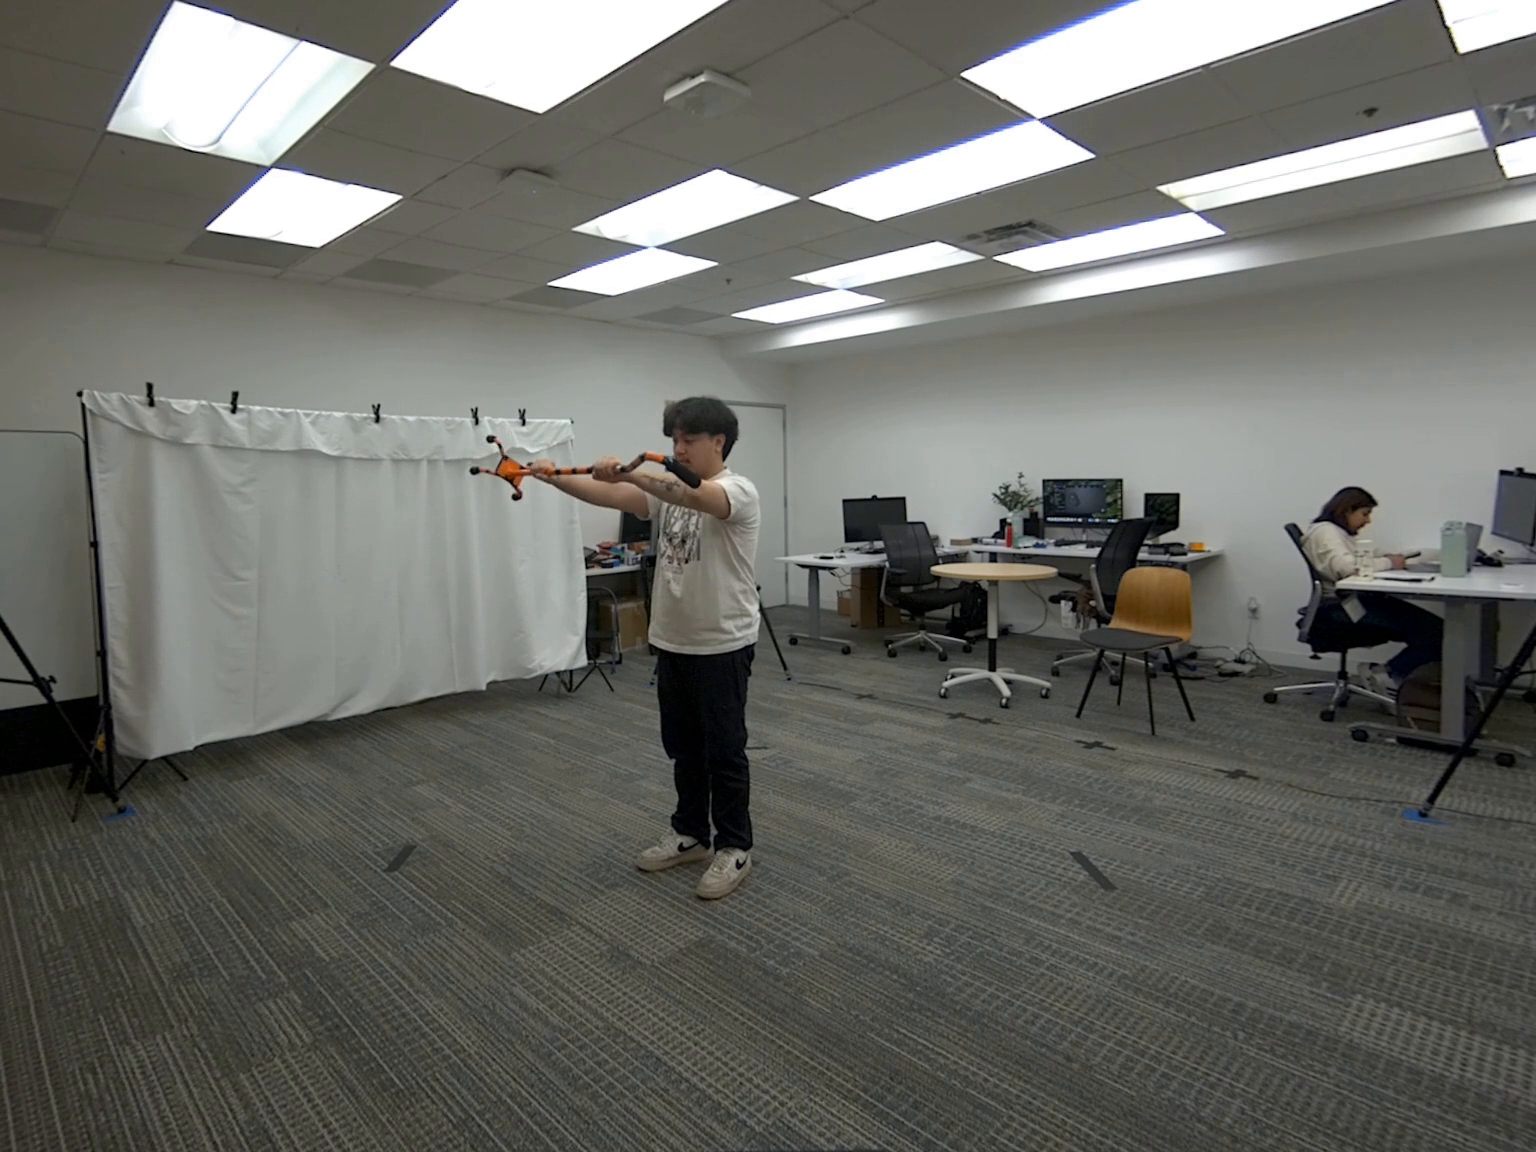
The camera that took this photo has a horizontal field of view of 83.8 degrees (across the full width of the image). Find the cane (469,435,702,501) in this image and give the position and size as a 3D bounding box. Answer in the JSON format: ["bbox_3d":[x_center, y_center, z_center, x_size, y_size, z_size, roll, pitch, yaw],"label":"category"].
[{"bbox_3d":[-0.566,-0.331,2.568,0.936,0.153,0.198,6,-22,44],"label":"cane"}]
